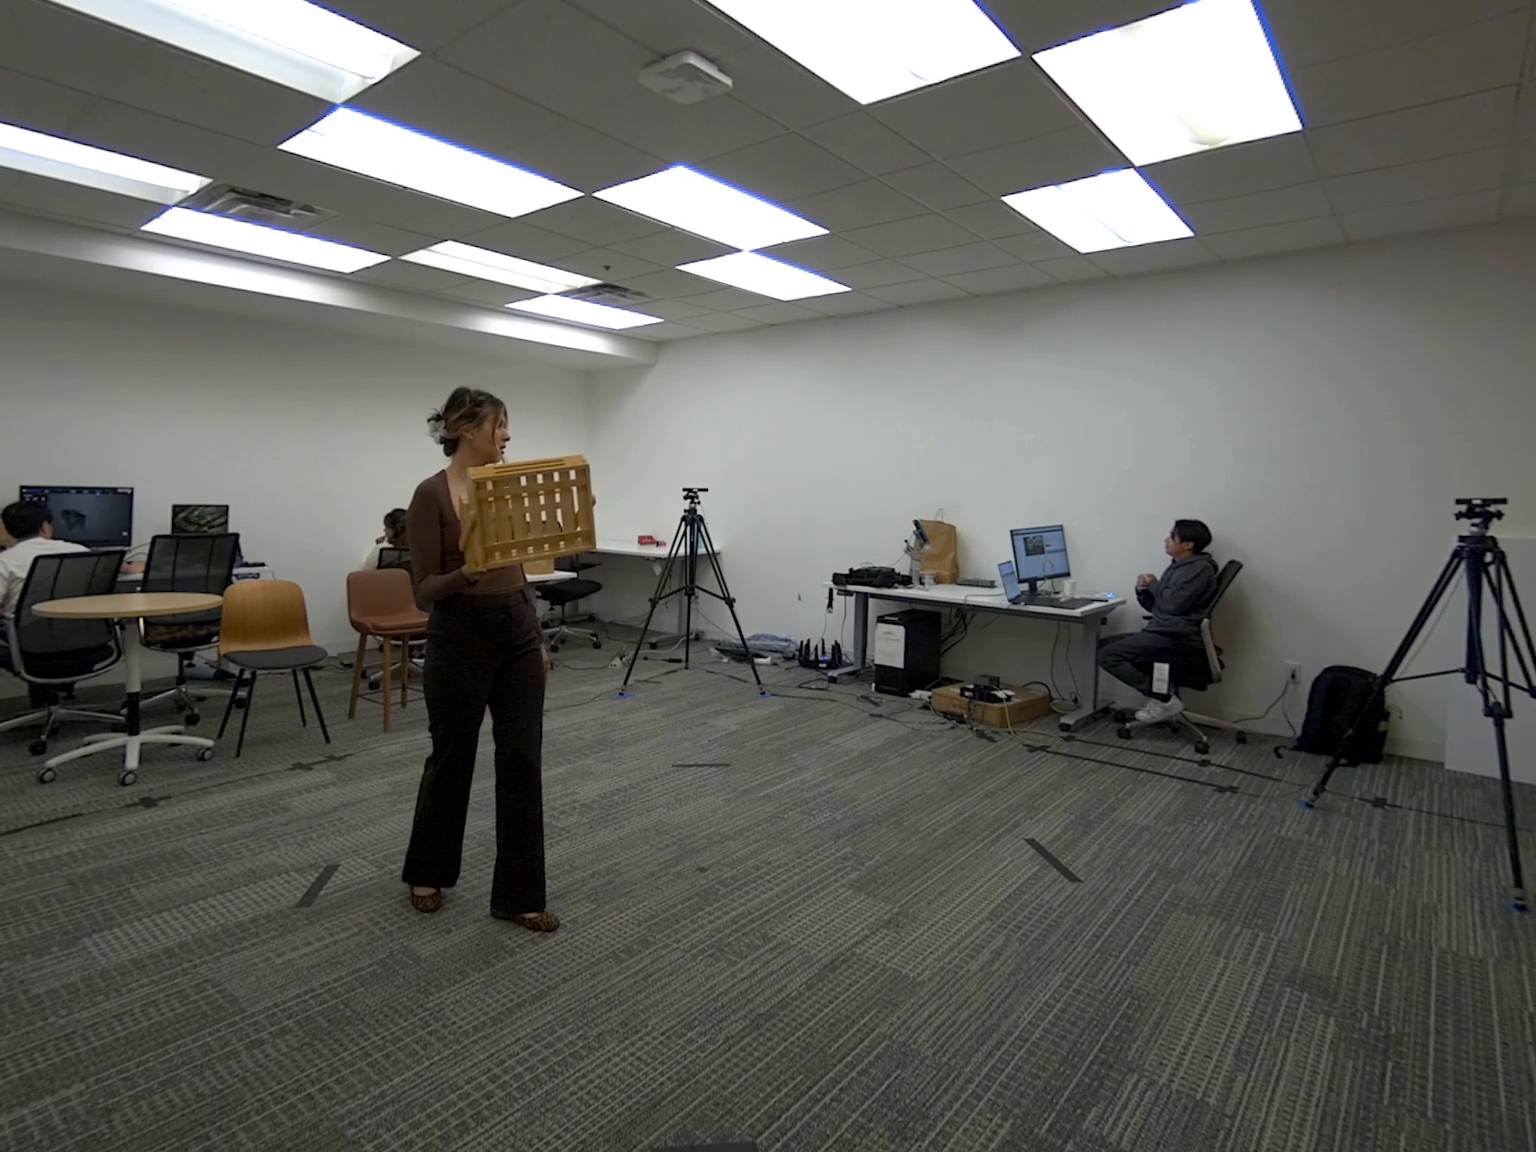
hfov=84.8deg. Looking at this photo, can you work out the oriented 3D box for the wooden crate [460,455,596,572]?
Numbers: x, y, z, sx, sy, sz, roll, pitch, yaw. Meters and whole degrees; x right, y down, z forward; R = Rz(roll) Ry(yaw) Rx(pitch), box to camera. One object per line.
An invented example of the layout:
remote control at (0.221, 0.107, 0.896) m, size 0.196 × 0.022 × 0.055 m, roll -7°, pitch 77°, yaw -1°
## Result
wooden crate at (-0.671, -0.174, 2.291) m, size 0.318 × 0.298 × 0.283 m, roll -11°, pitch 16°, yaw -26°
